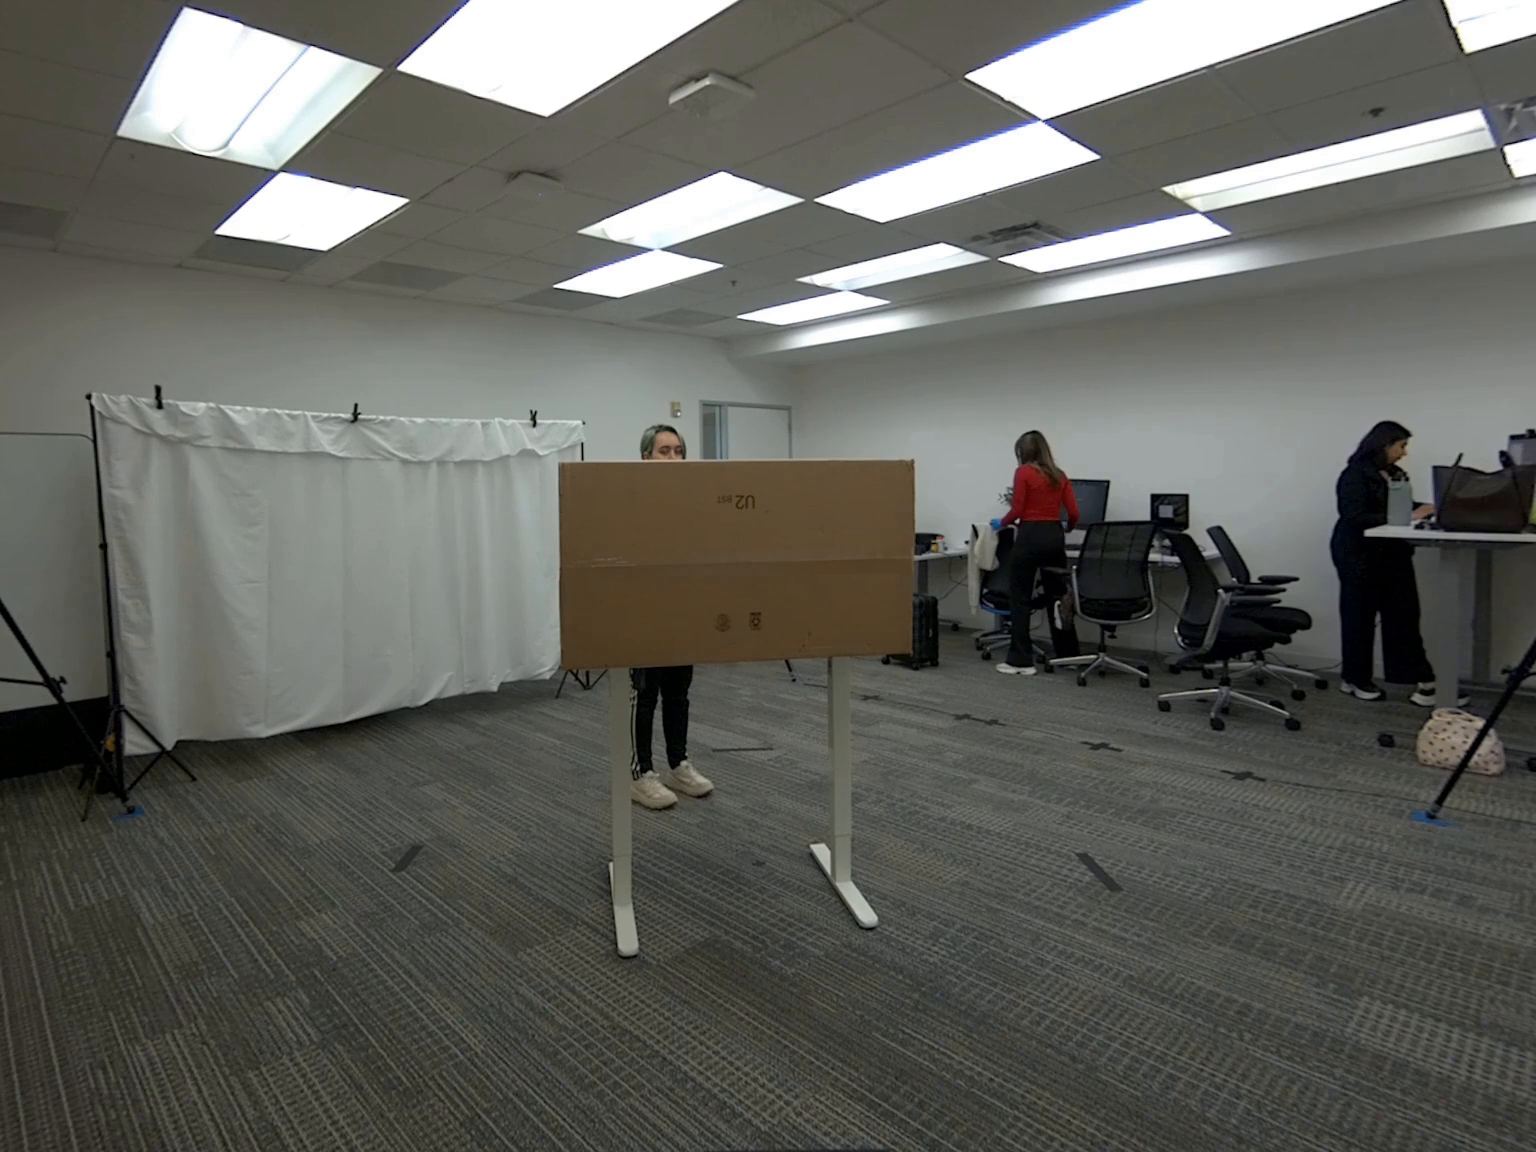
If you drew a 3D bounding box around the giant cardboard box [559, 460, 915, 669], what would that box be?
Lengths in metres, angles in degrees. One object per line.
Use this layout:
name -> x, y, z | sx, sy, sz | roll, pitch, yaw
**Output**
giant cardboard box -> -0.110, -0.065, 2.619 | 1.016, 0.581, 0.453 | -2, 5, -11
